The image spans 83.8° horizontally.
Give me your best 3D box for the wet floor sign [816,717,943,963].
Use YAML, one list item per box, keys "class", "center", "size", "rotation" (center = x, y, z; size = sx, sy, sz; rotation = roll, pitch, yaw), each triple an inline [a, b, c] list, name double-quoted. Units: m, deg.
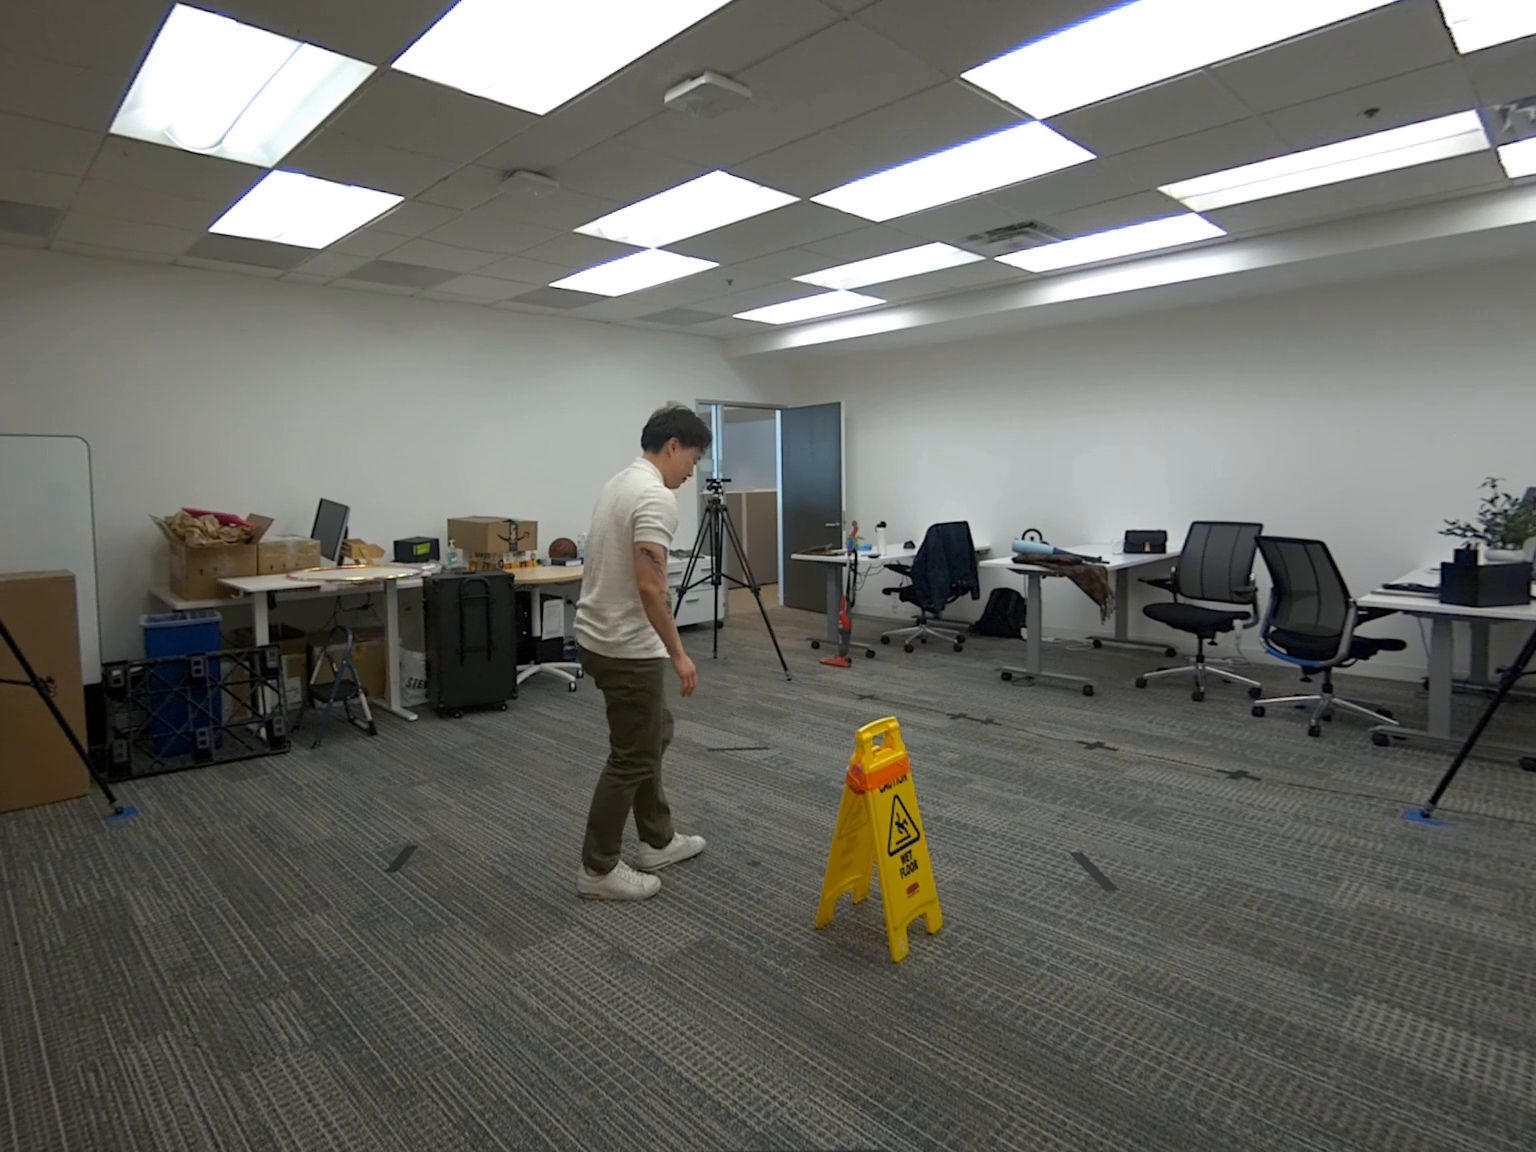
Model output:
- class: "wet floor sign"
  center: [0.346, 0.771, 2.623]
  size: [0.299, 0.643, 0.275]
  rotation: [4, 7, 43]
